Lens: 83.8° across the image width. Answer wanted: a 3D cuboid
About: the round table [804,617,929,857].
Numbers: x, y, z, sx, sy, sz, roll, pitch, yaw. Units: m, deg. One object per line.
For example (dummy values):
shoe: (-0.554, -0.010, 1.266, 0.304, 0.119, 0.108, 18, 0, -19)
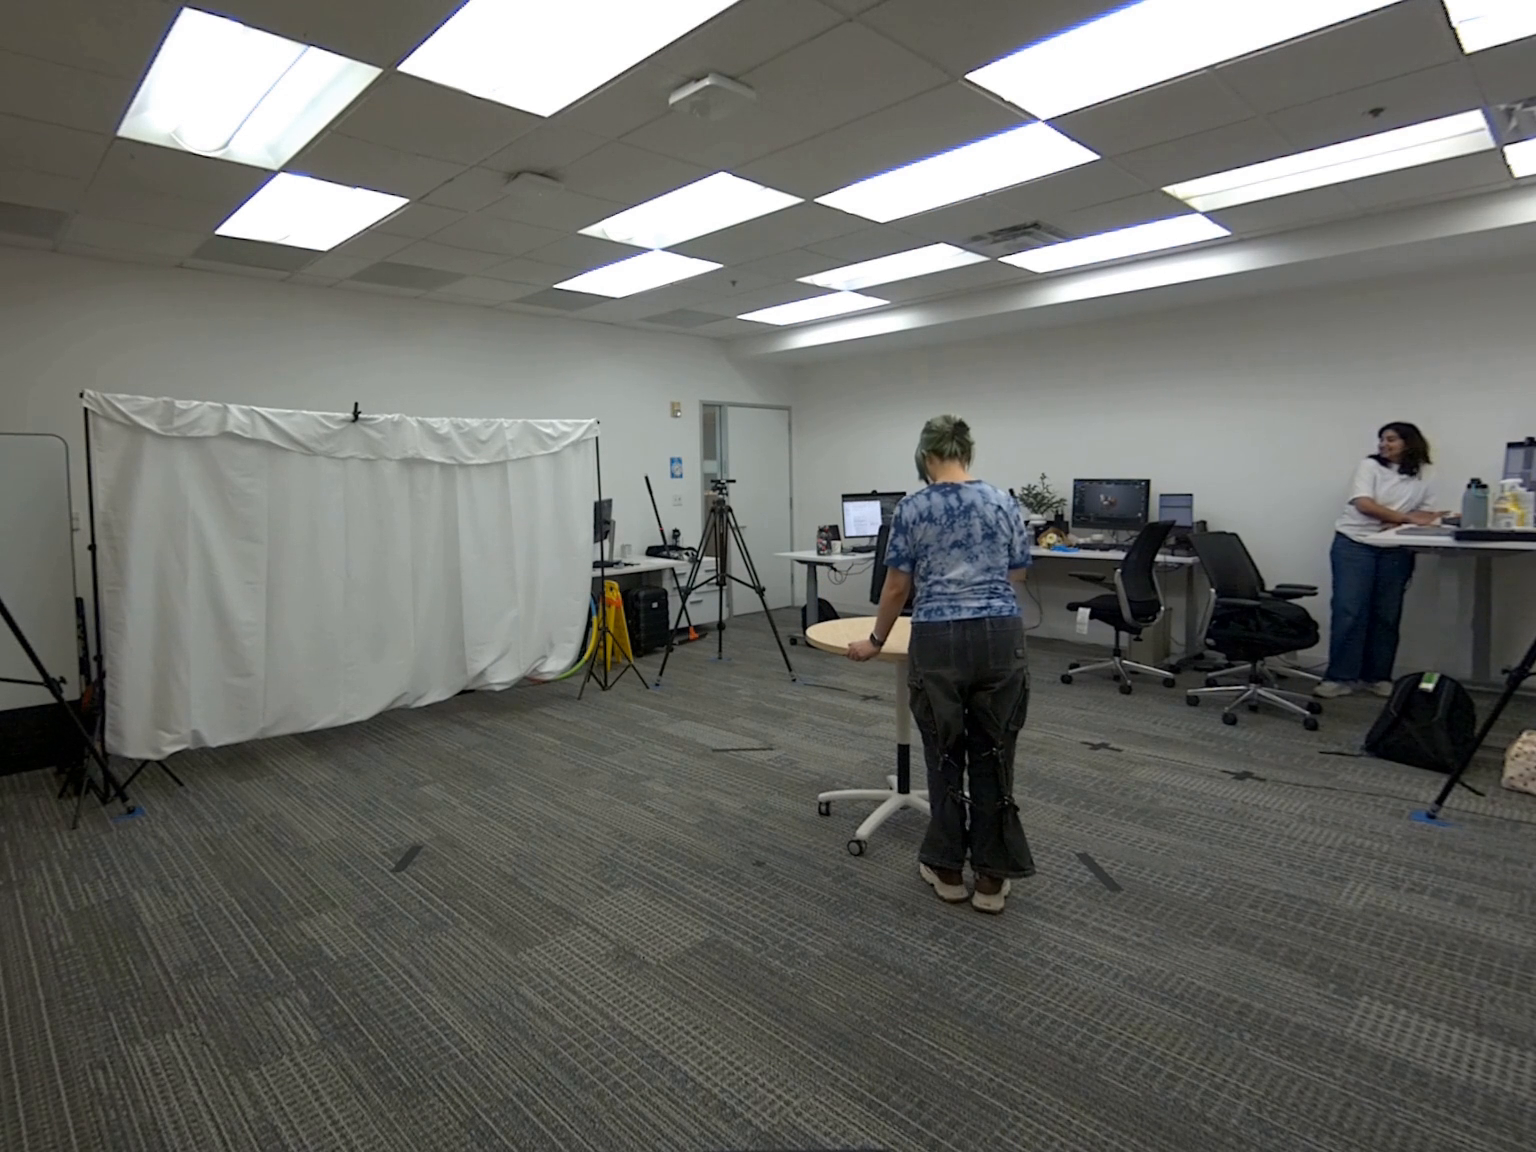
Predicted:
round table: (0.538, 0.615, 3.397, 0.763, 0.791, 0.768, -1, 5, -2)
